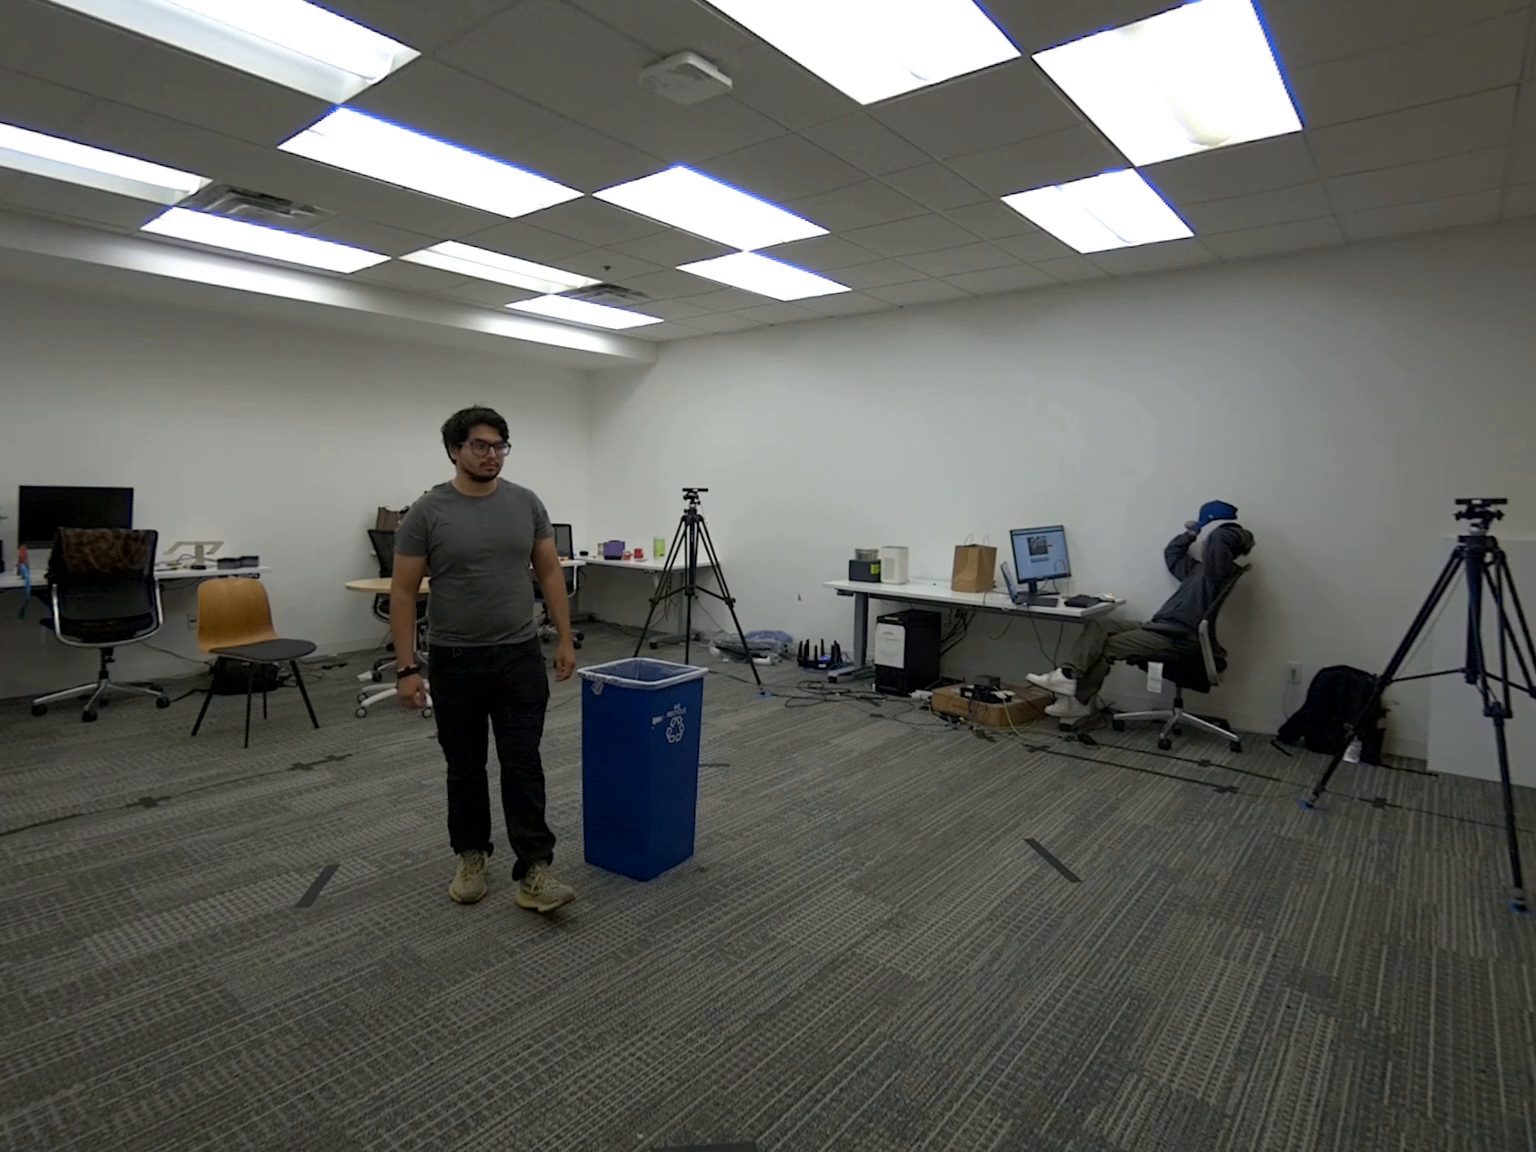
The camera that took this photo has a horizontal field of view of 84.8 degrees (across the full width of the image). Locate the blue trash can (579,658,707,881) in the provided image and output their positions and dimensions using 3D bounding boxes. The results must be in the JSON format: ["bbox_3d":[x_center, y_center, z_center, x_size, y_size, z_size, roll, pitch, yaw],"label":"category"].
[{"bbox_3d":[-0.482,0.699,3.190,0.390,0.712,0.364,3,4,33],"label":"blue trash can"}]
